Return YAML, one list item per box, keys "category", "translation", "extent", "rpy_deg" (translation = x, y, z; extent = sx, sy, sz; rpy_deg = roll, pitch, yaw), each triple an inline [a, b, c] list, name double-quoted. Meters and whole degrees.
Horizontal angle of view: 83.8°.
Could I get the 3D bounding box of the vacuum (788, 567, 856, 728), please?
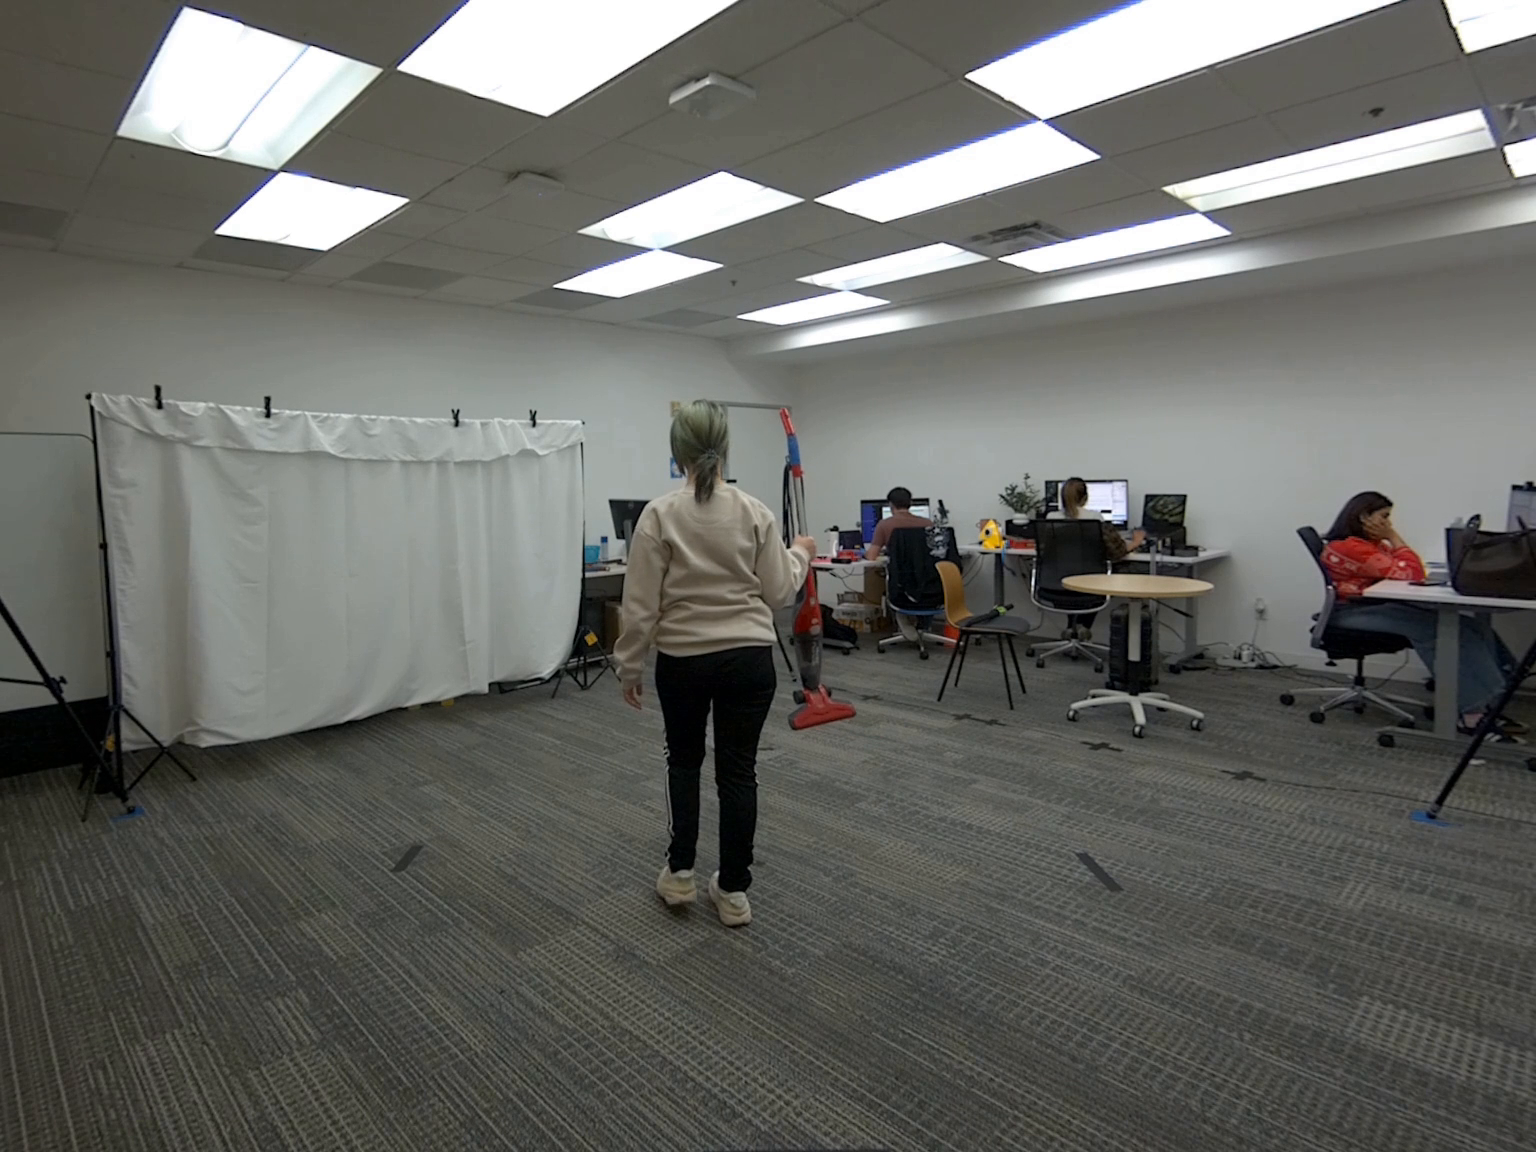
- category: "vacuum"
  translation: [0.120, -0.052, 3.008]
  extent: [0.248, 1.045, 0.147]
  rpy_deg: [-9, 4, -22]
